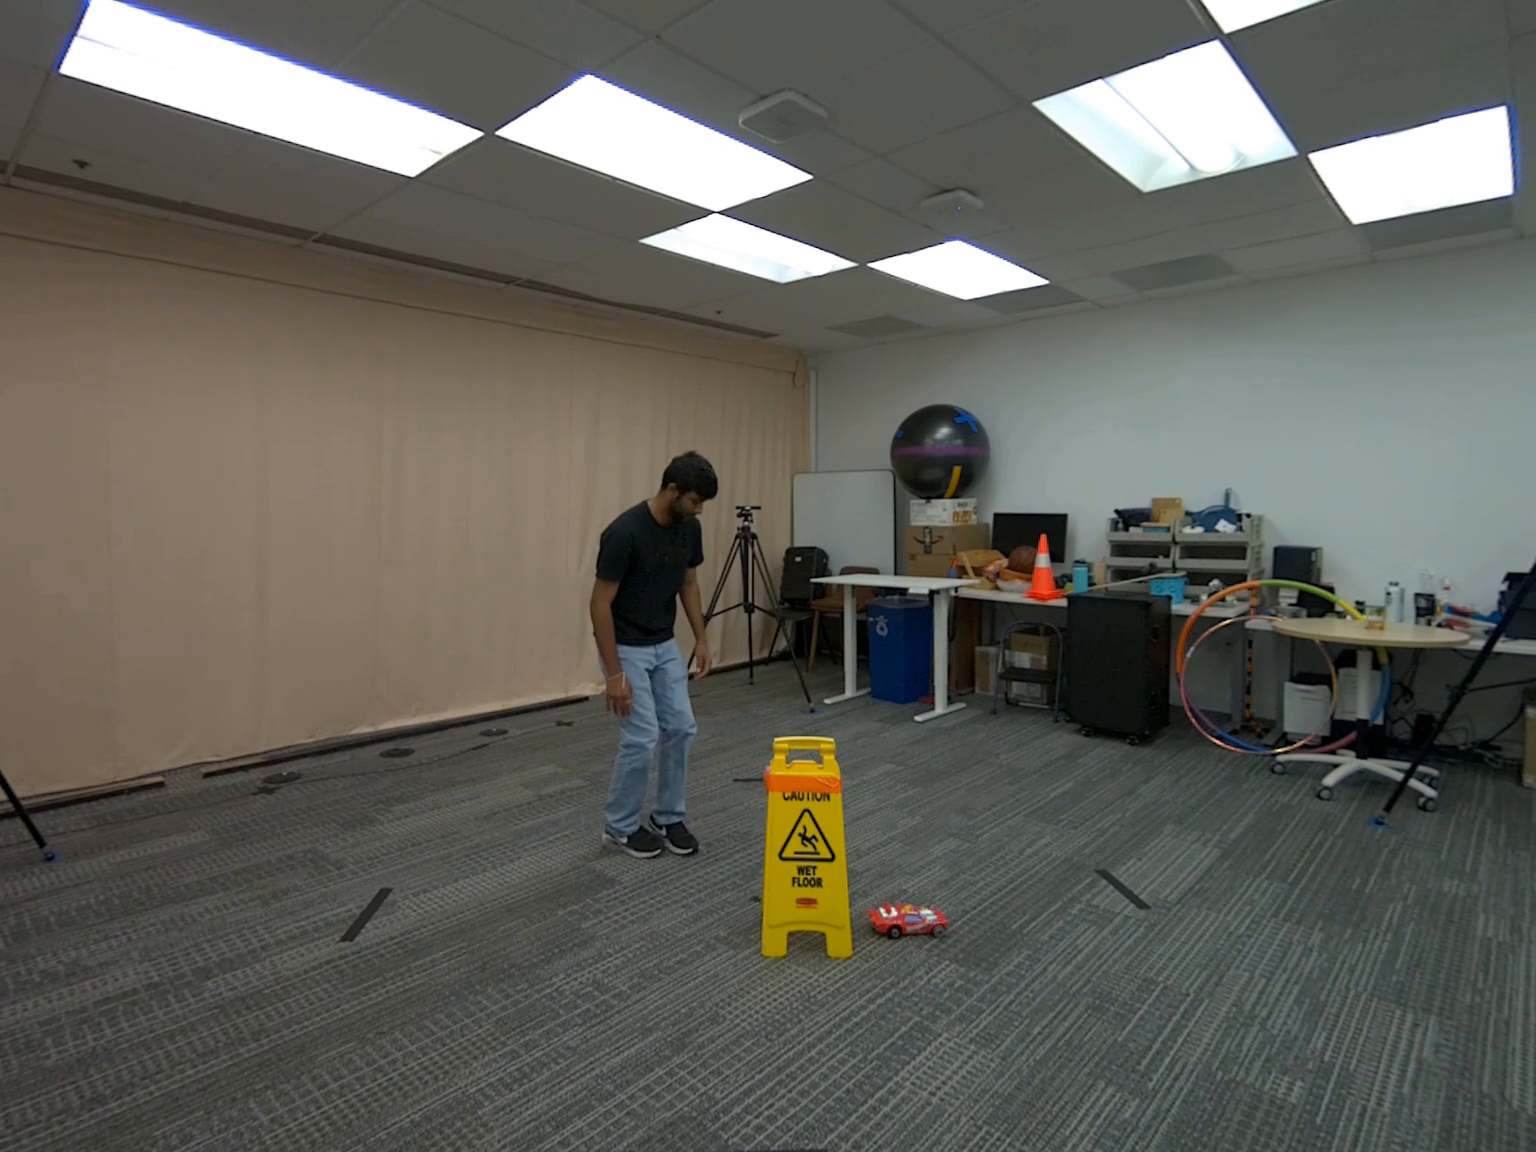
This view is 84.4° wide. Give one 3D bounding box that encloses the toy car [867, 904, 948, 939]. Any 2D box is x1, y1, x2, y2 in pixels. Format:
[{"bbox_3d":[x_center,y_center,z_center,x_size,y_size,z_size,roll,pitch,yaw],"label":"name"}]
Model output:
[{"bbox_3d":[0.457,1.132,2.753,0.254,0.083,0.131,11,3,-4],"label":"toy car"}]
